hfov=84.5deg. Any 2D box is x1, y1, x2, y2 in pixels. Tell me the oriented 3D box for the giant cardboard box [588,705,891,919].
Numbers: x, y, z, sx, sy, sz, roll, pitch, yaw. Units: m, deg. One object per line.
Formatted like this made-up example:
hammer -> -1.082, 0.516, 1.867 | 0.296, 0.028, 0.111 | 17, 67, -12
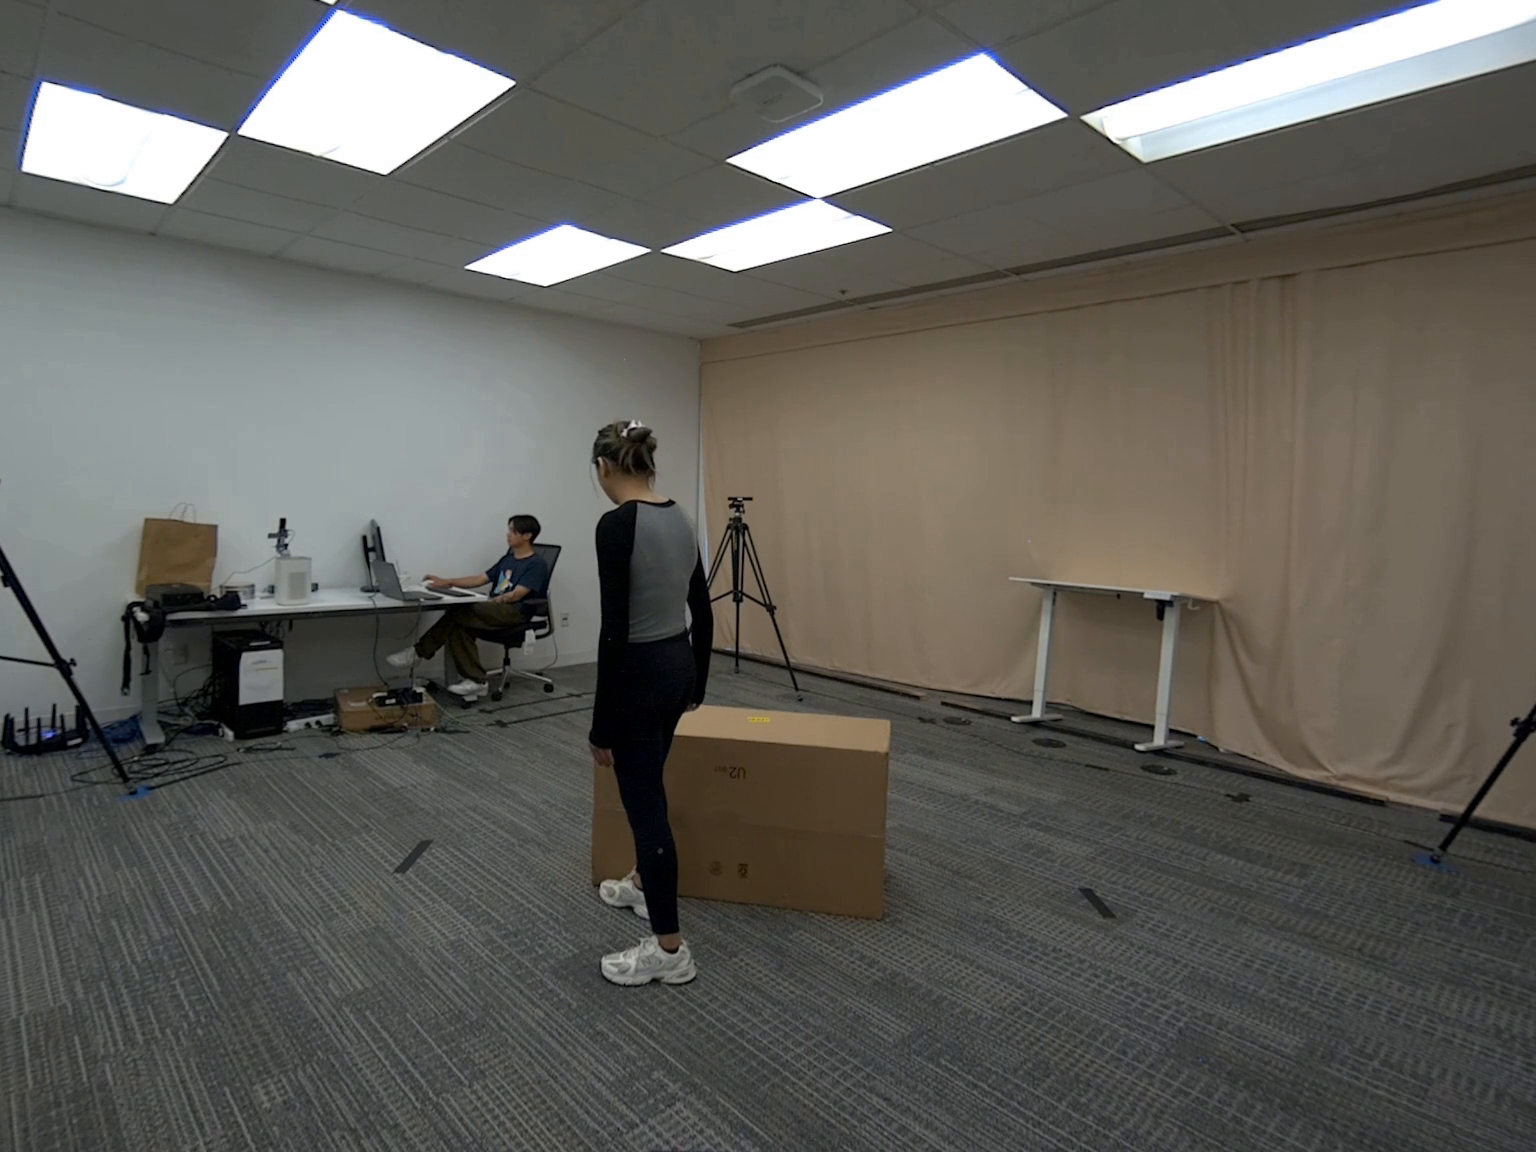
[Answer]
giant cardboard box -> -0.086, 0.821, 3.087 | 1.035, 0.576, 0.423 | 2, 4, 11
